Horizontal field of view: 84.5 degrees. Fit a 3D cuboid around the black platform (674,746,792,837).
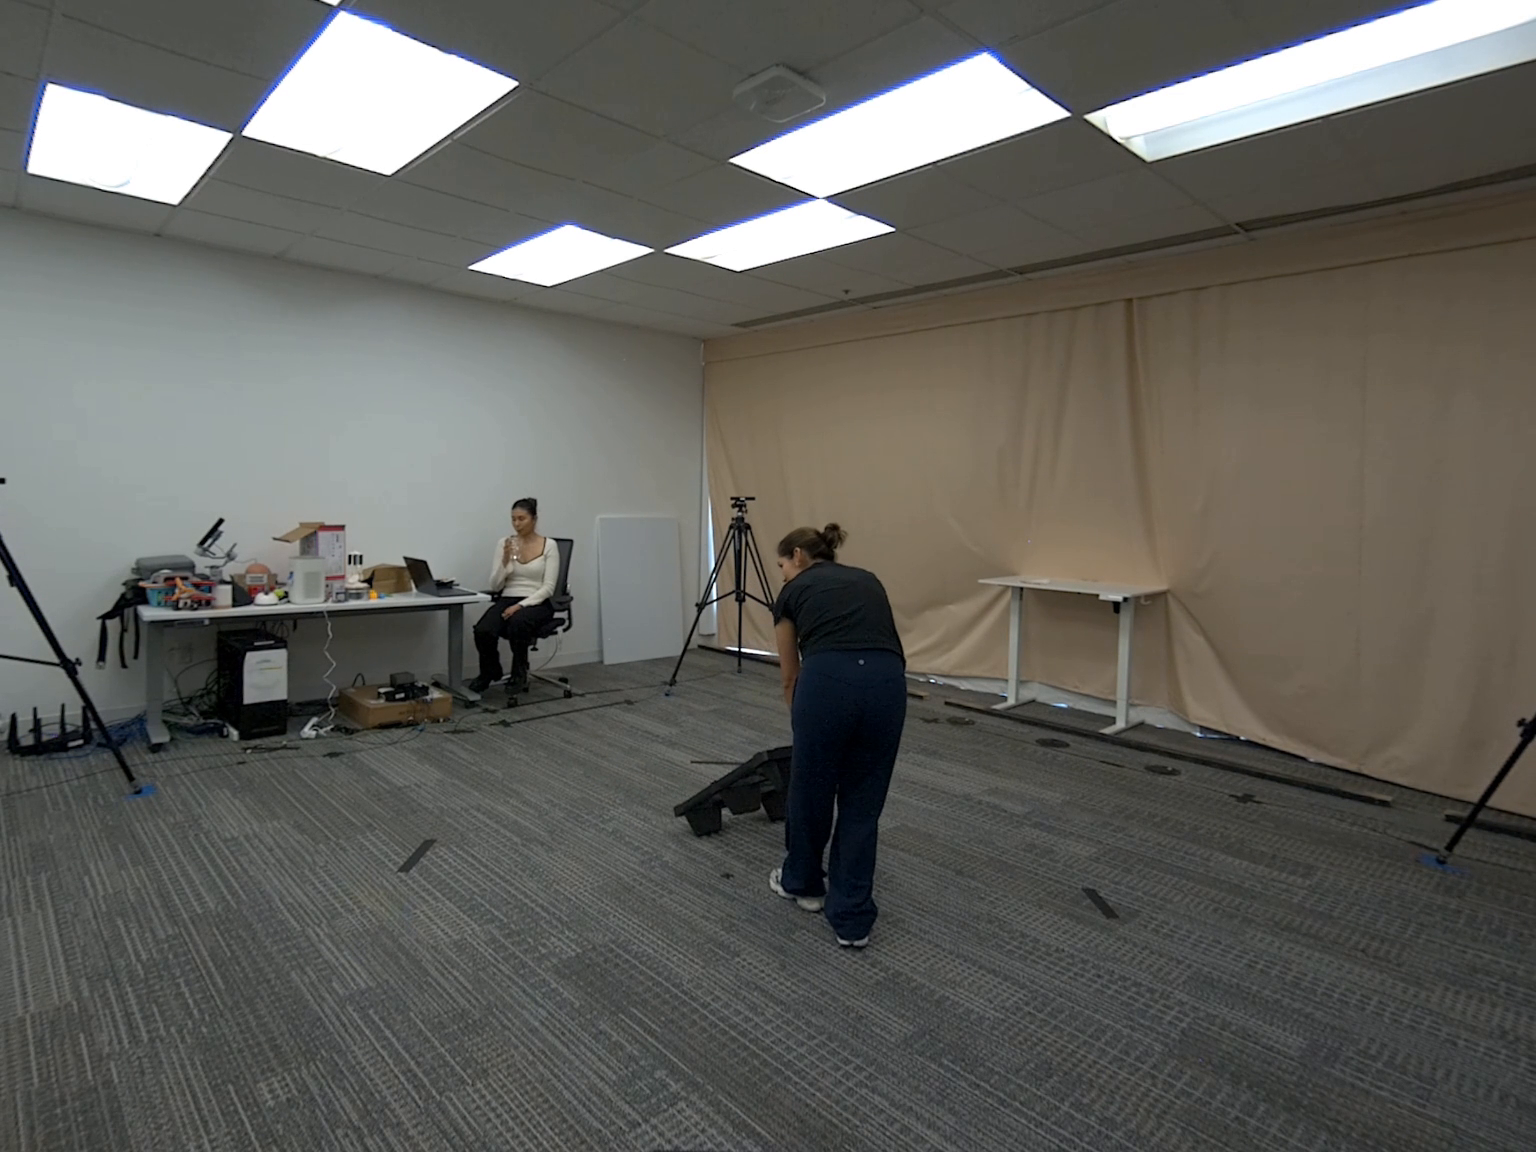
[{"bbox_3d":[0.051,0.838,3.319,0.592,0.146,0.805,-2,-27,-33],"label":"black platform"}]
